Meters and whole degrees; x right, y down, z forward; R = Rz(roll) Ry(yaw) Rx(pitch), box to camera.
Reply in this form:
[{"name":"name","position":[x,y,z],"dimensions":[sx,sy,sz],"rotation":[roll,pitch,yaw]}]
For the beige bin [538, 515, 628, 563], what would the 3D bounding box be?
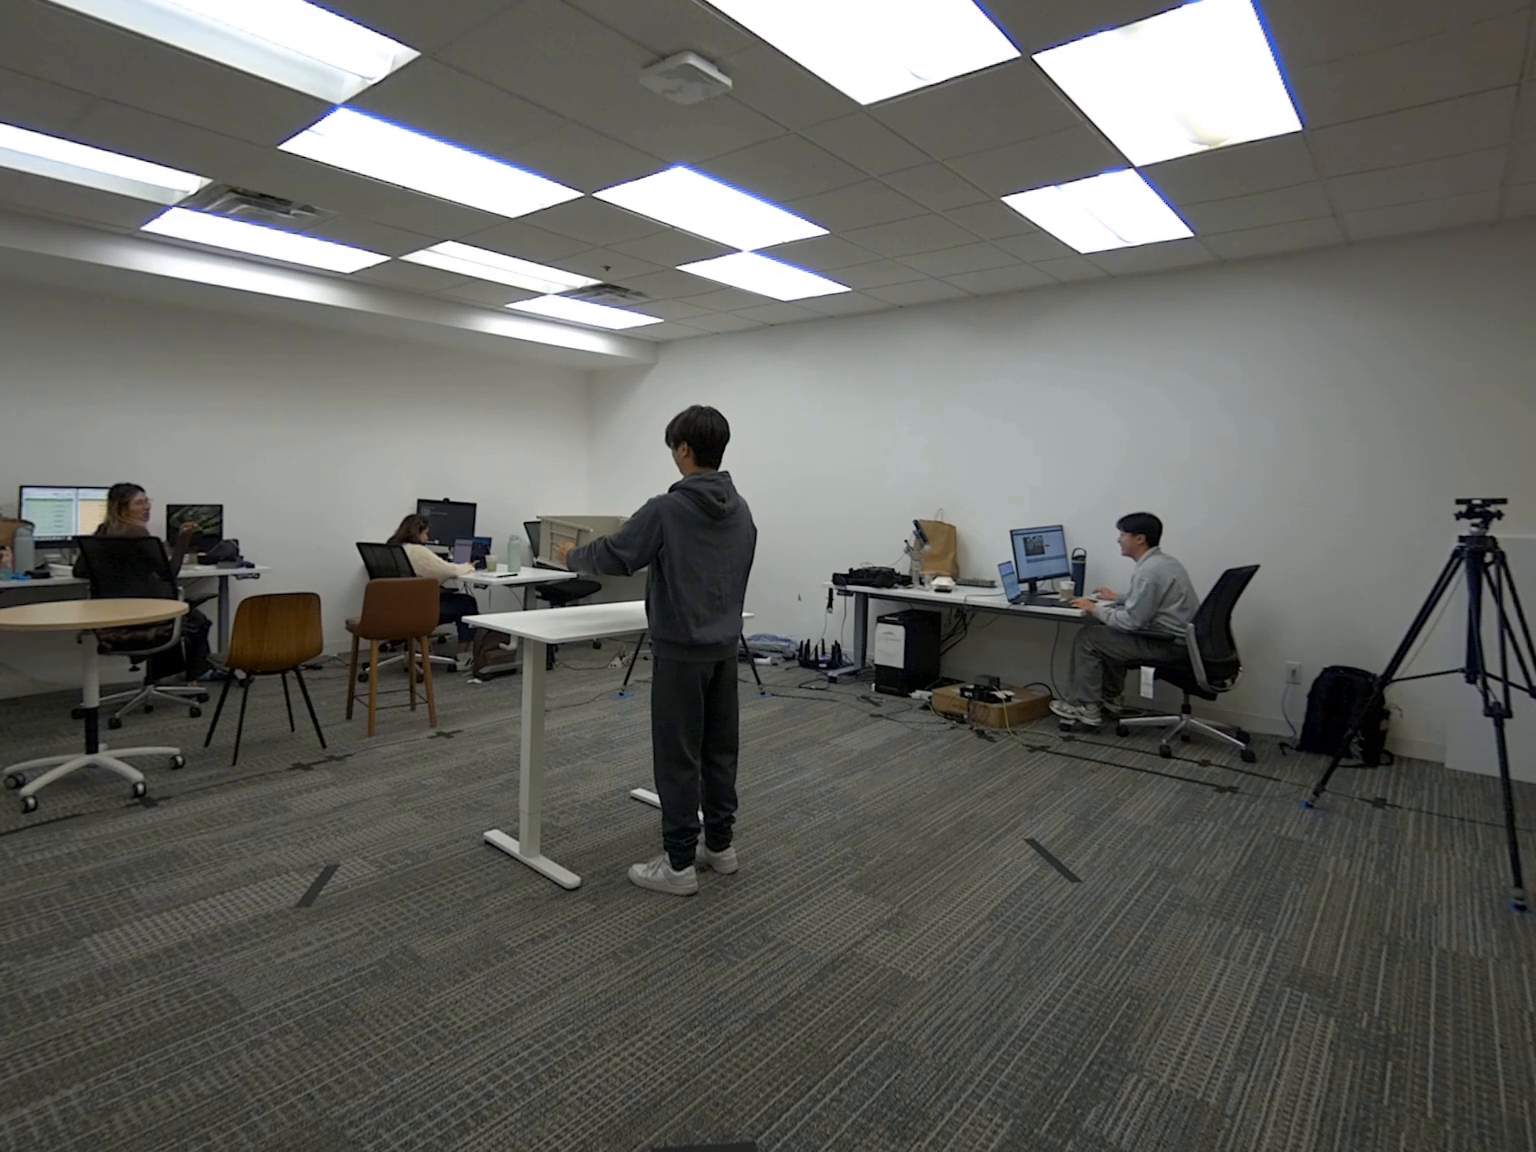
[{"name":"beige bin","position":[-0.646,-0.124,3.356],"dimensions":[0.391,0.188,0.409],"rotation":[13,11,41]}]
